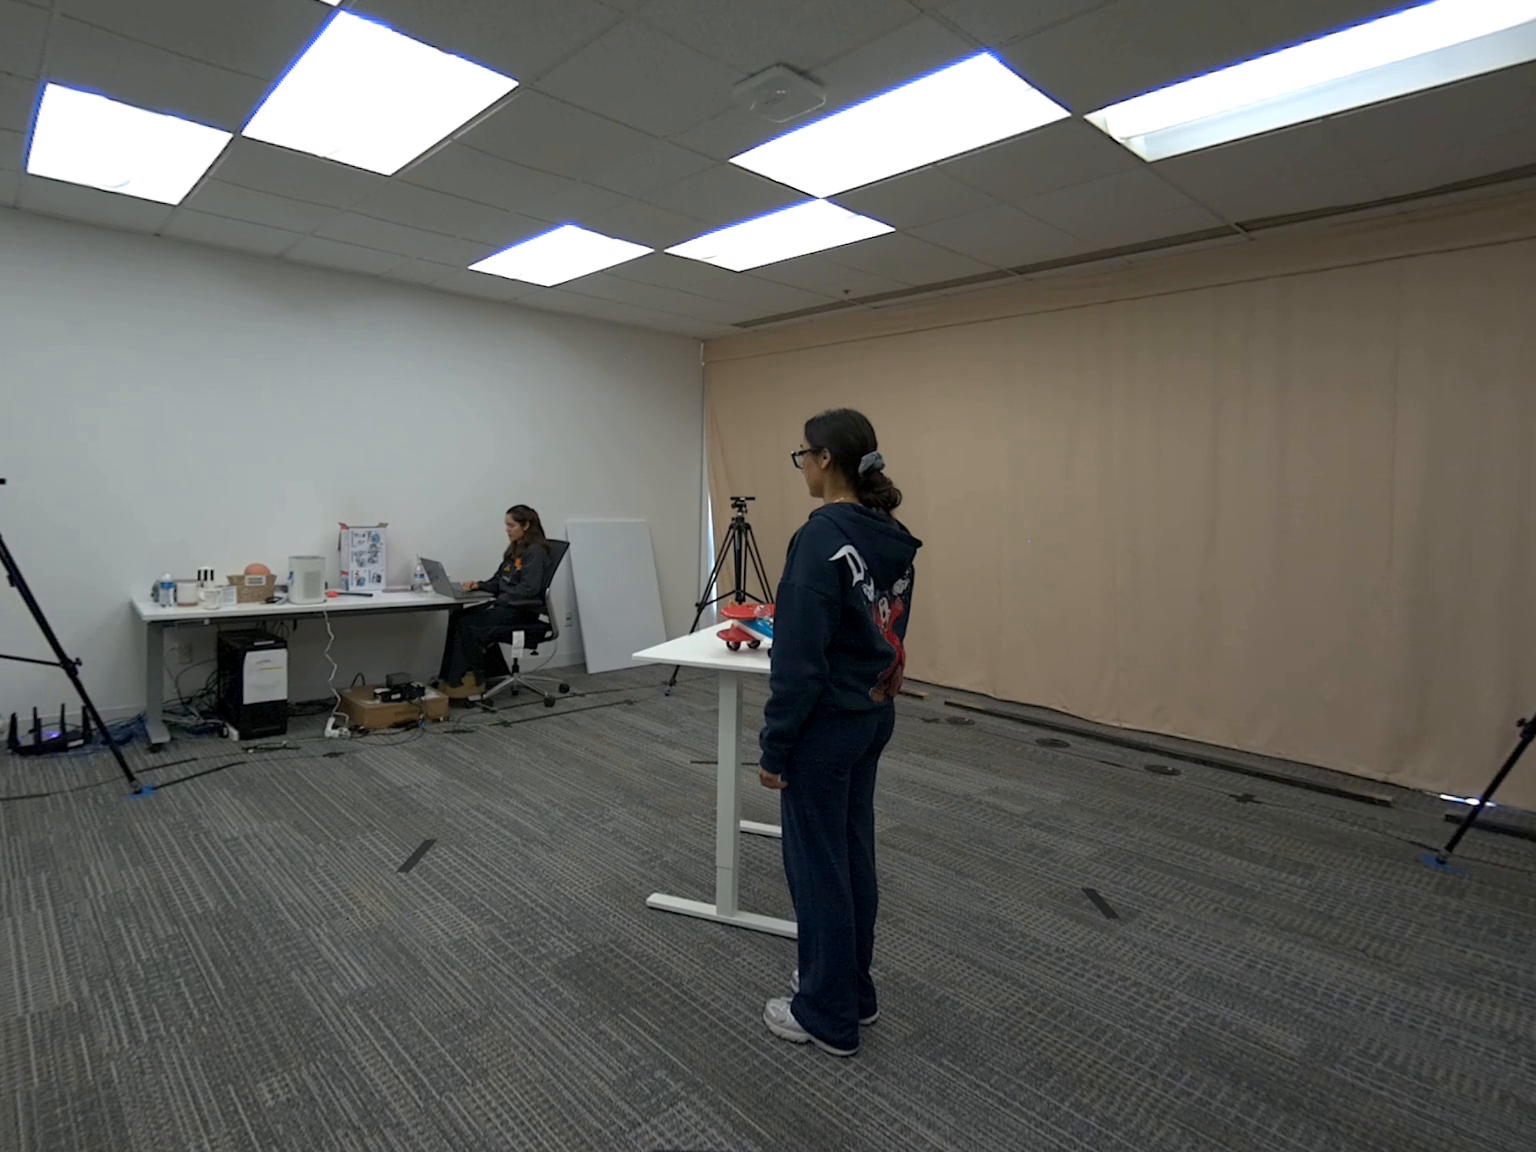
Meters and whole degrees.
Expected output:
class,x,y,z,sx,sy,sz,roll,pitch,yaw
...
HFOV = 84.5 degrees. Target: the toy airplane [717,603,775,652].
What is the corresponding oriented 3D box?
class,x,y,z,sx,sy,sz,roll,pitch,yaw
toy airplane,-0.024,0.181,2.815,0.264,0.156,0.247,3,4,23
